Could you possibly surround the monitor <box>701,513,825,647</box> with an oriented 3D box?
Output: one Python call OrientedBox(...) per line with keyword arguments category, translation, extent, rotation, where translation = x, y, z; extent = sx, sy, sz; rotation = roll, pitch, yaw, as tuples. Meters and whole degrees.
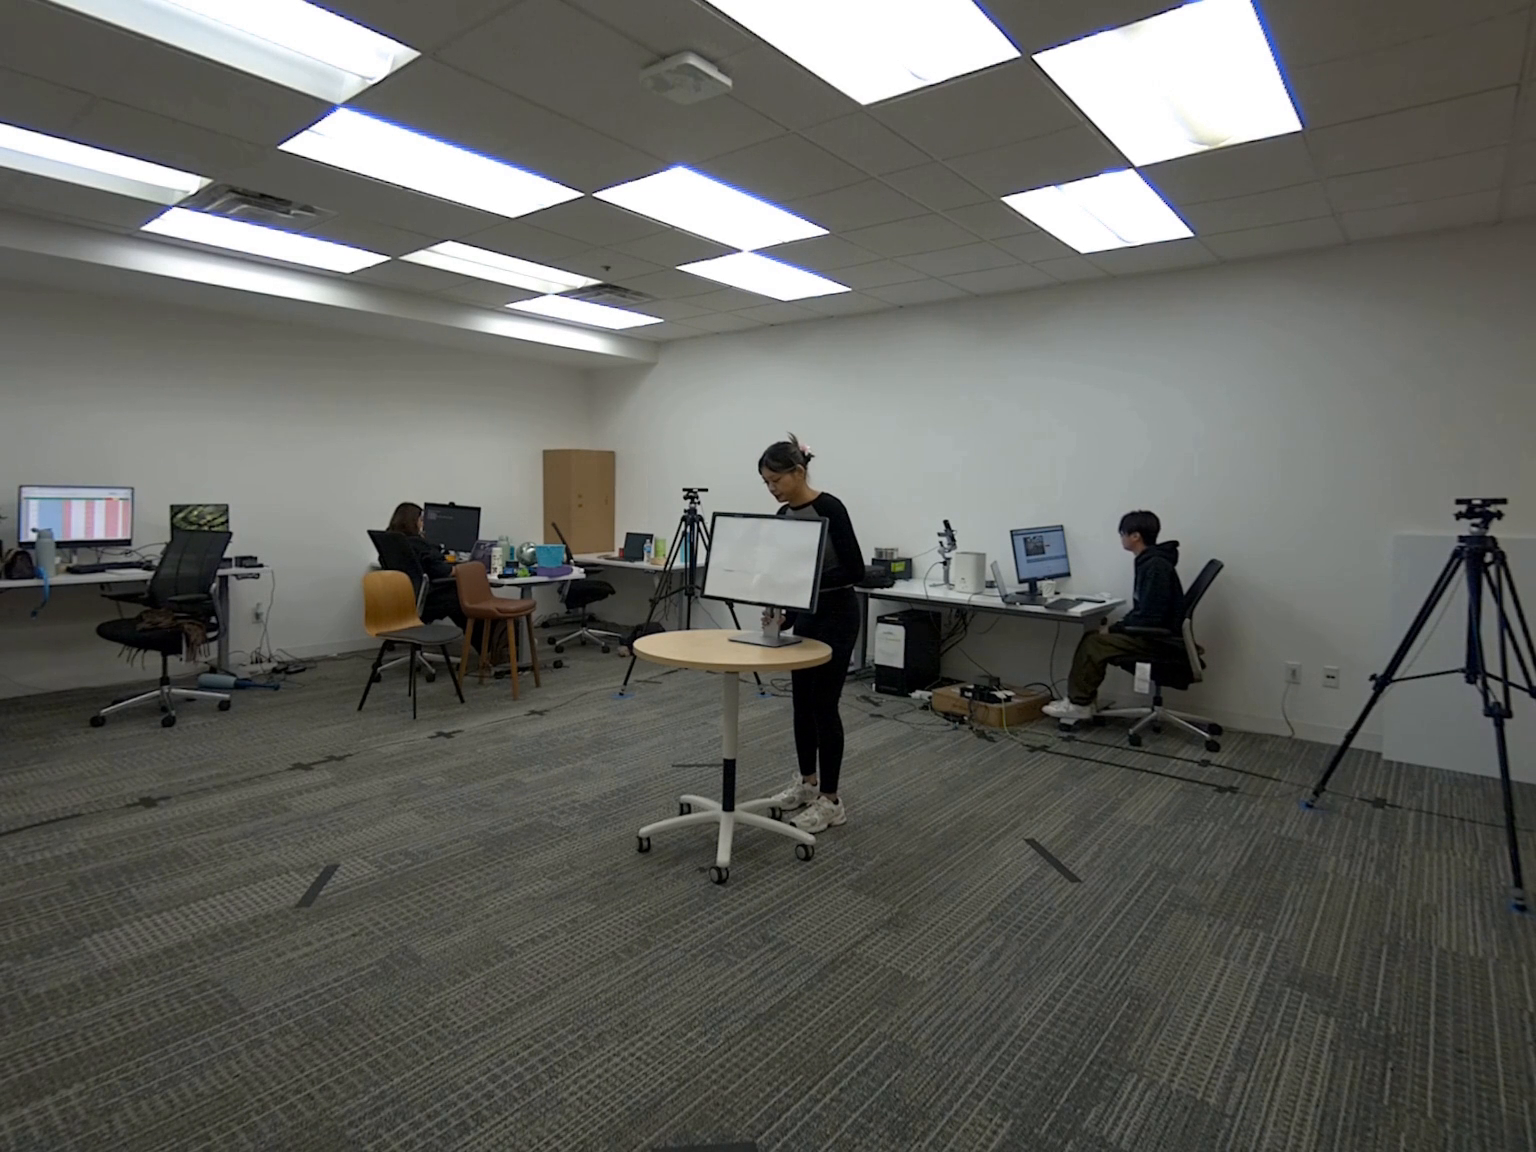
OrientedBox(category="monitor", translation=(-0.012, 0.014, 3.391), extent=(0.557, 0.520, 0.182), rotation=(4, 7, 36))
